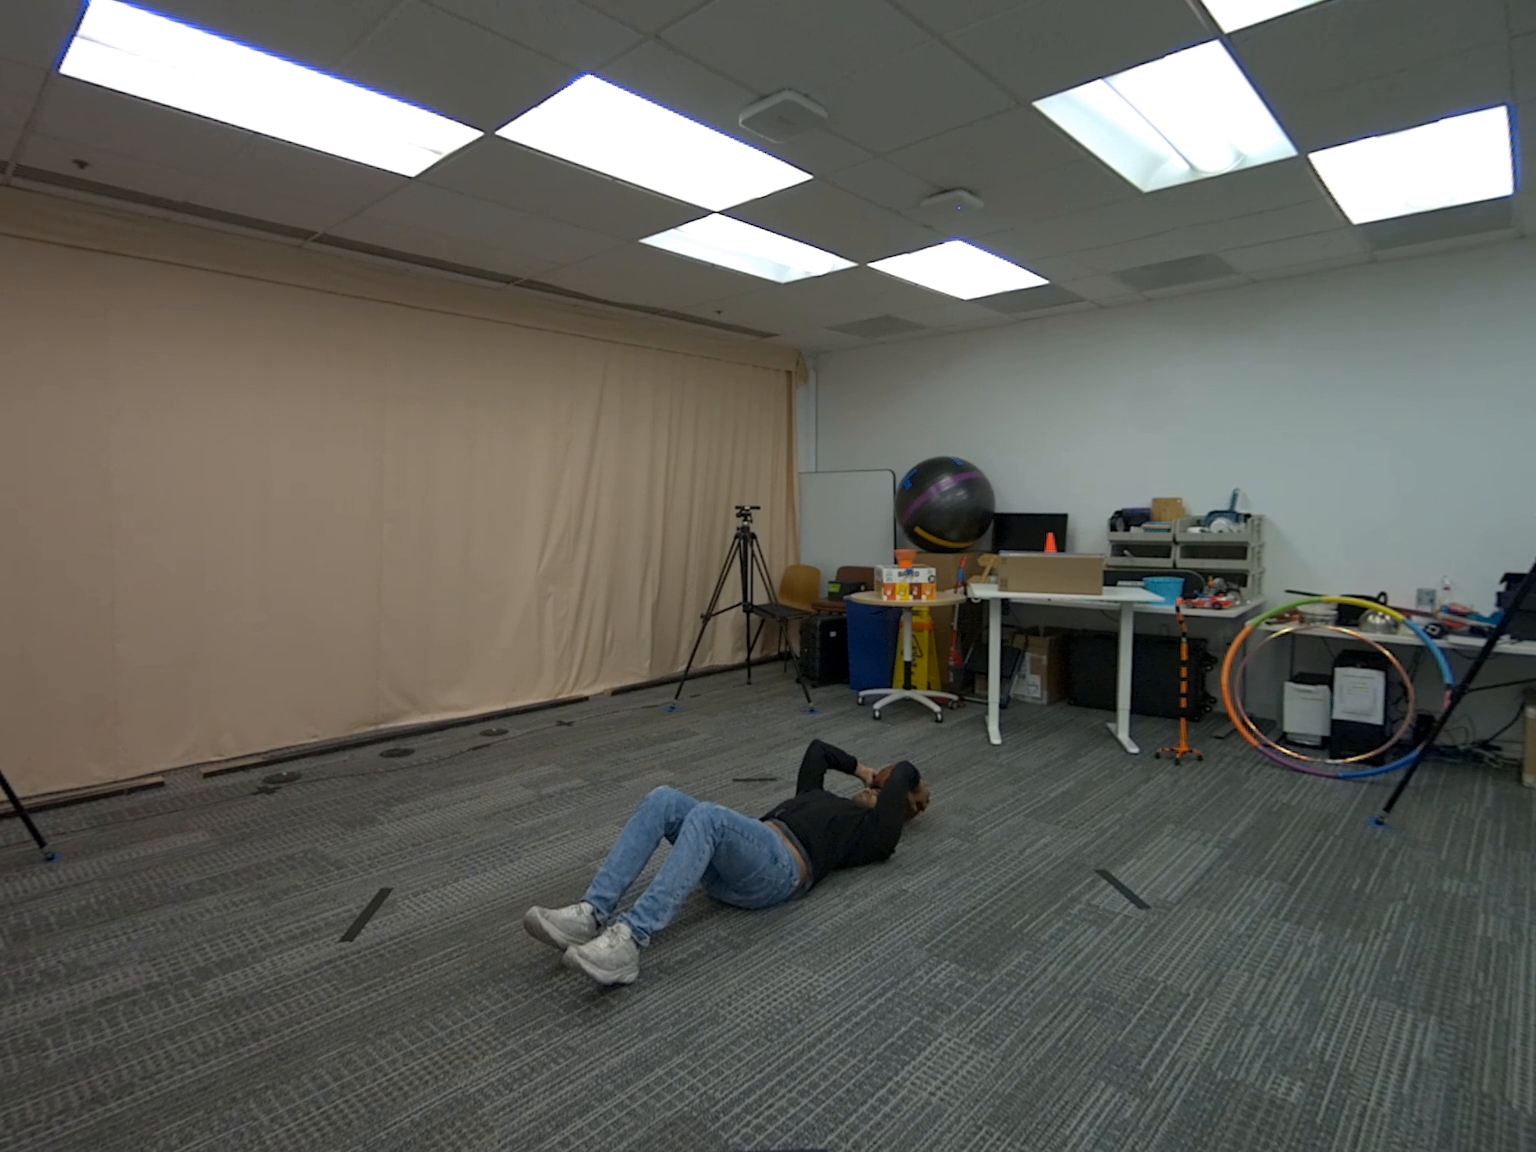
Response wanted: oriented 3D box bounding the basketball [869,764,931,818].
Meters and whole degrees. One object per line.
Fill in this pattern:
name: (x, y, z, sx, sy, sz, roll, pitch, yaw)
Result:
basketball: (0.583, 0.953, 3.722, 0.236, 0.235, 0.237, 0, 4, -2)
